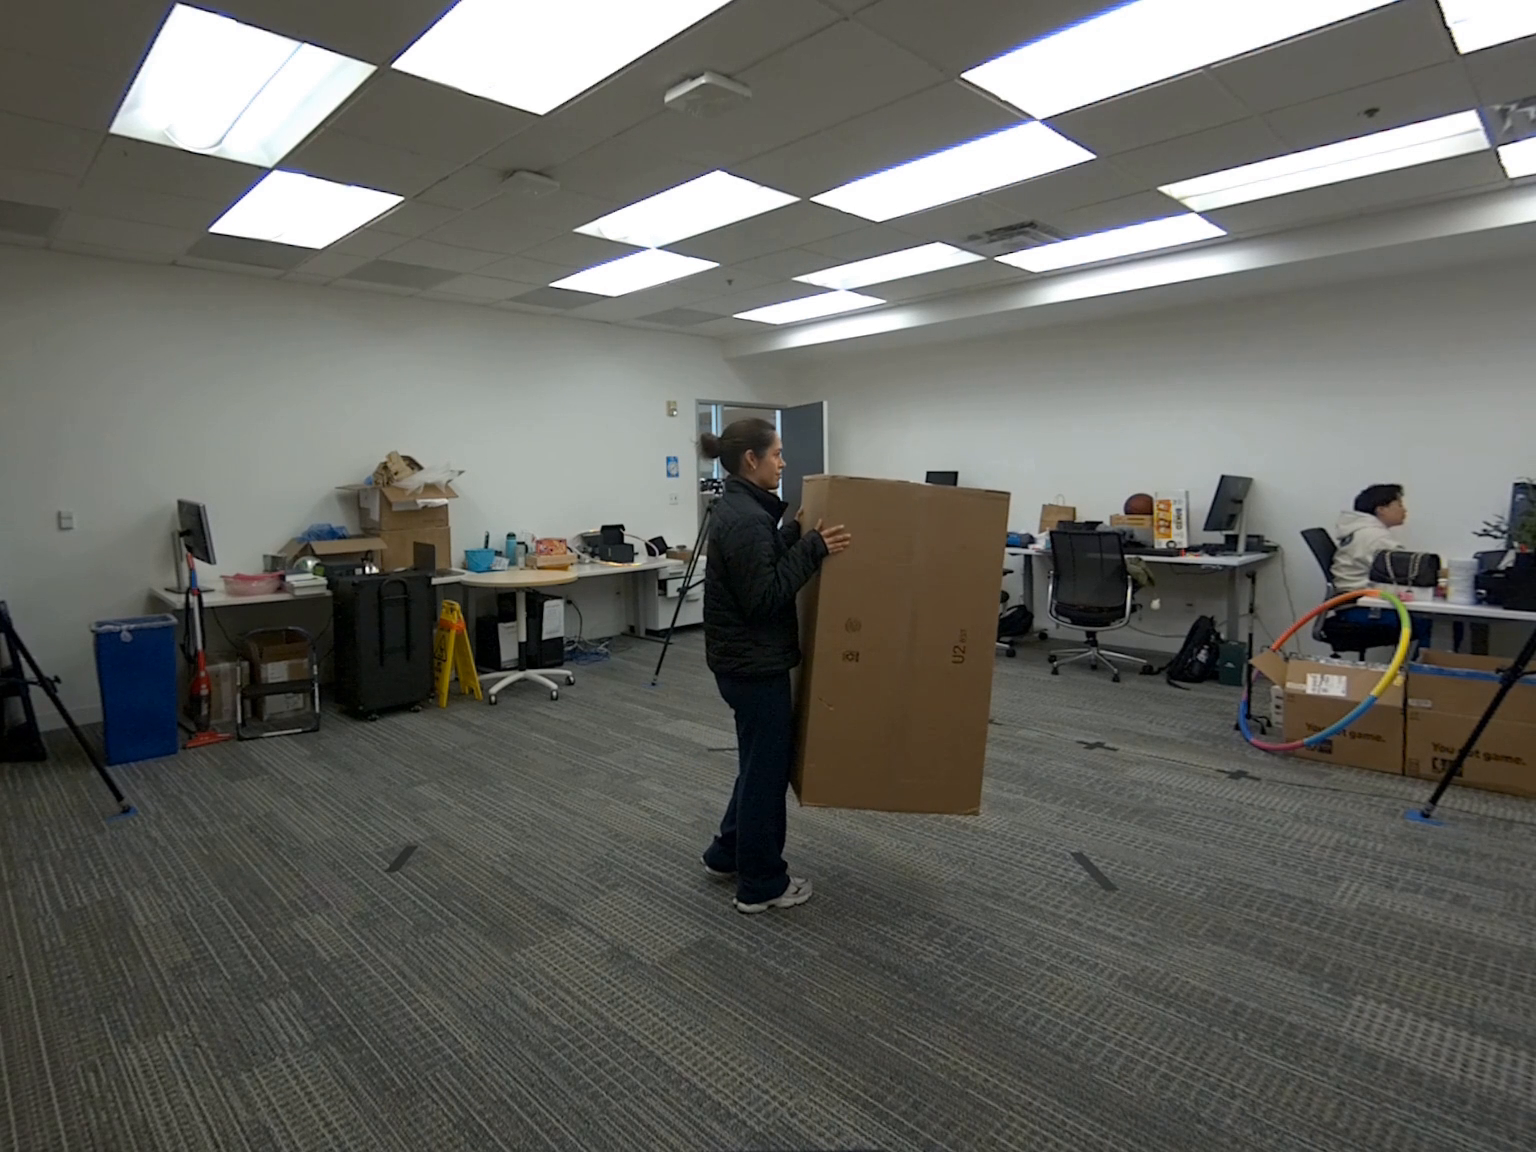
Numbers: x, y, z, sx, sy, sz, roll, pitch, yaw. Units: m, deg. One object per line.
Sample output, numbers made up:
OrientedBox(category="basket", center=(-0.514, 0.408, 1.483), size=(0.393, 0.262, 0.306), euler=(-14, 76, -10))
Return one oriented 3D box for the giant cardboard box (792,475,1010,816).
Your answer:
OrientedBox(category="giant cardboard box", center=(0.394, 0.201, 2.859), size=(0.574, 1.023, 0.430), euler=(4, 3, -6))
